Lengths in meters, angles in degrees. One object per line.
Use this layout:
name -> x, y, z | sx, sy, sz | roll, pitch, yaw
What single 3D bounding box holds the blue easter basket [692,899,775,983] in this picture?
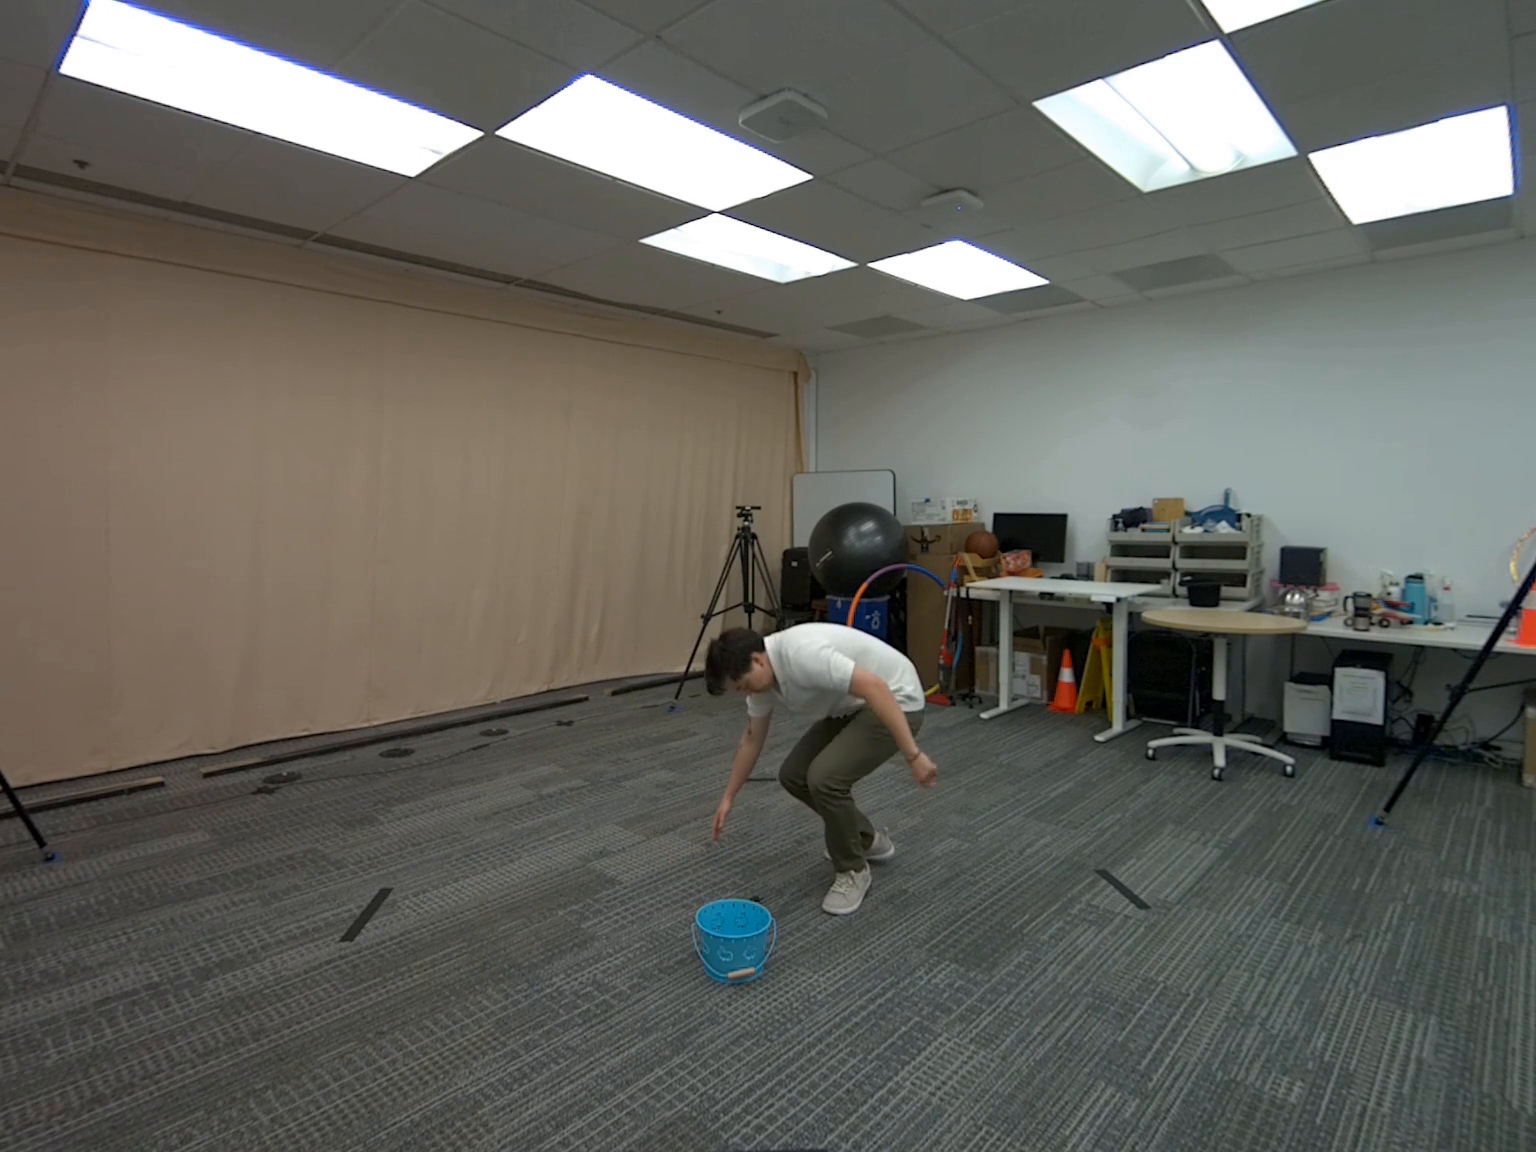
blue easter basket -> -0.105, 1.105, 2.536 | 0.243, 0.155, 0.244 | -1, 3, -2
